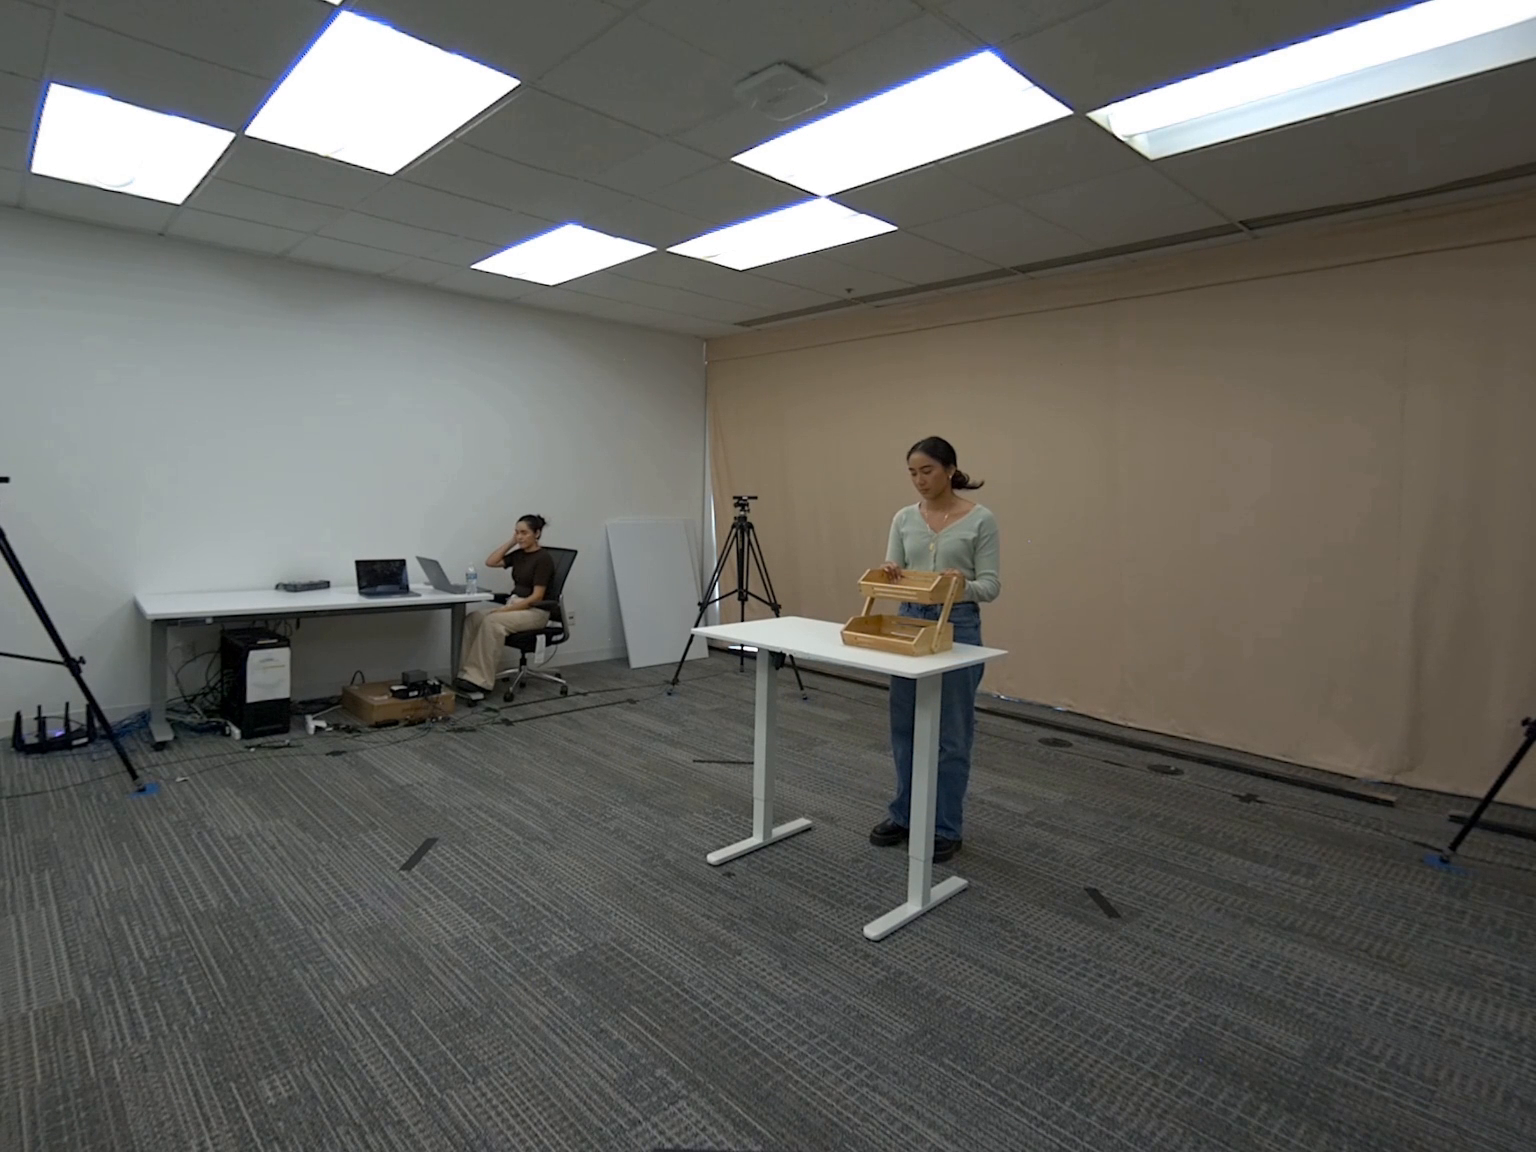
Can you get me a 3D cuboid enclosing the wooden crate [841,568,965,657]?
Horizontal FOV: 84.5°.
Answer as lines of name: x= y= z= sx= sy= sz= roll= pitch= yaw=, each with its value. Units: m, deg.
wooden crate: x=0.467 y=0.119 z=2.960 sx=0.333 sy=0.273 sz=0.295 roll=6 pitch=5 yaw=44
